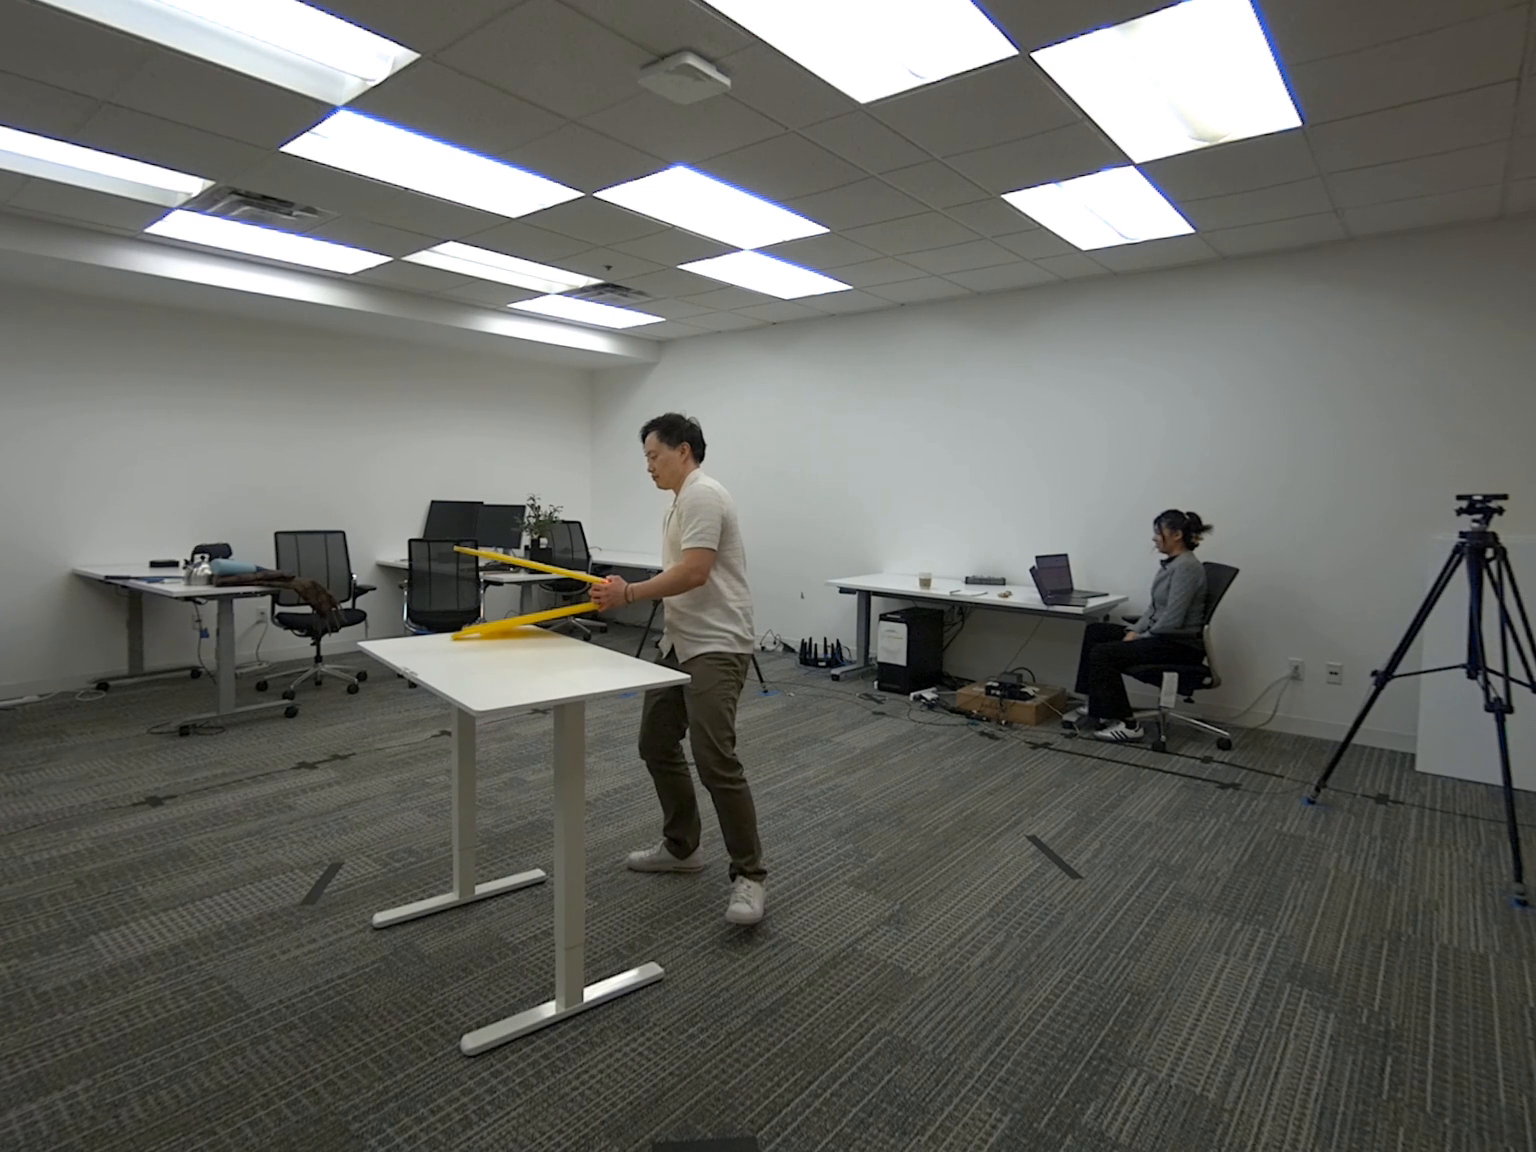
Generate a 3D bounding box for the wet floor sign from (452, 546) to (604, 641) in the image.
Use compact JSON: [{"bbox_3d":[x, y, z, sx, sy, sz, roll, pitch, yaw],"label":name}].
[{"bbox_3d":[-0.742,0.054,2.932,0.641,0.290,0.284,1,-1,-7],"label":"wet floor sign"}]
